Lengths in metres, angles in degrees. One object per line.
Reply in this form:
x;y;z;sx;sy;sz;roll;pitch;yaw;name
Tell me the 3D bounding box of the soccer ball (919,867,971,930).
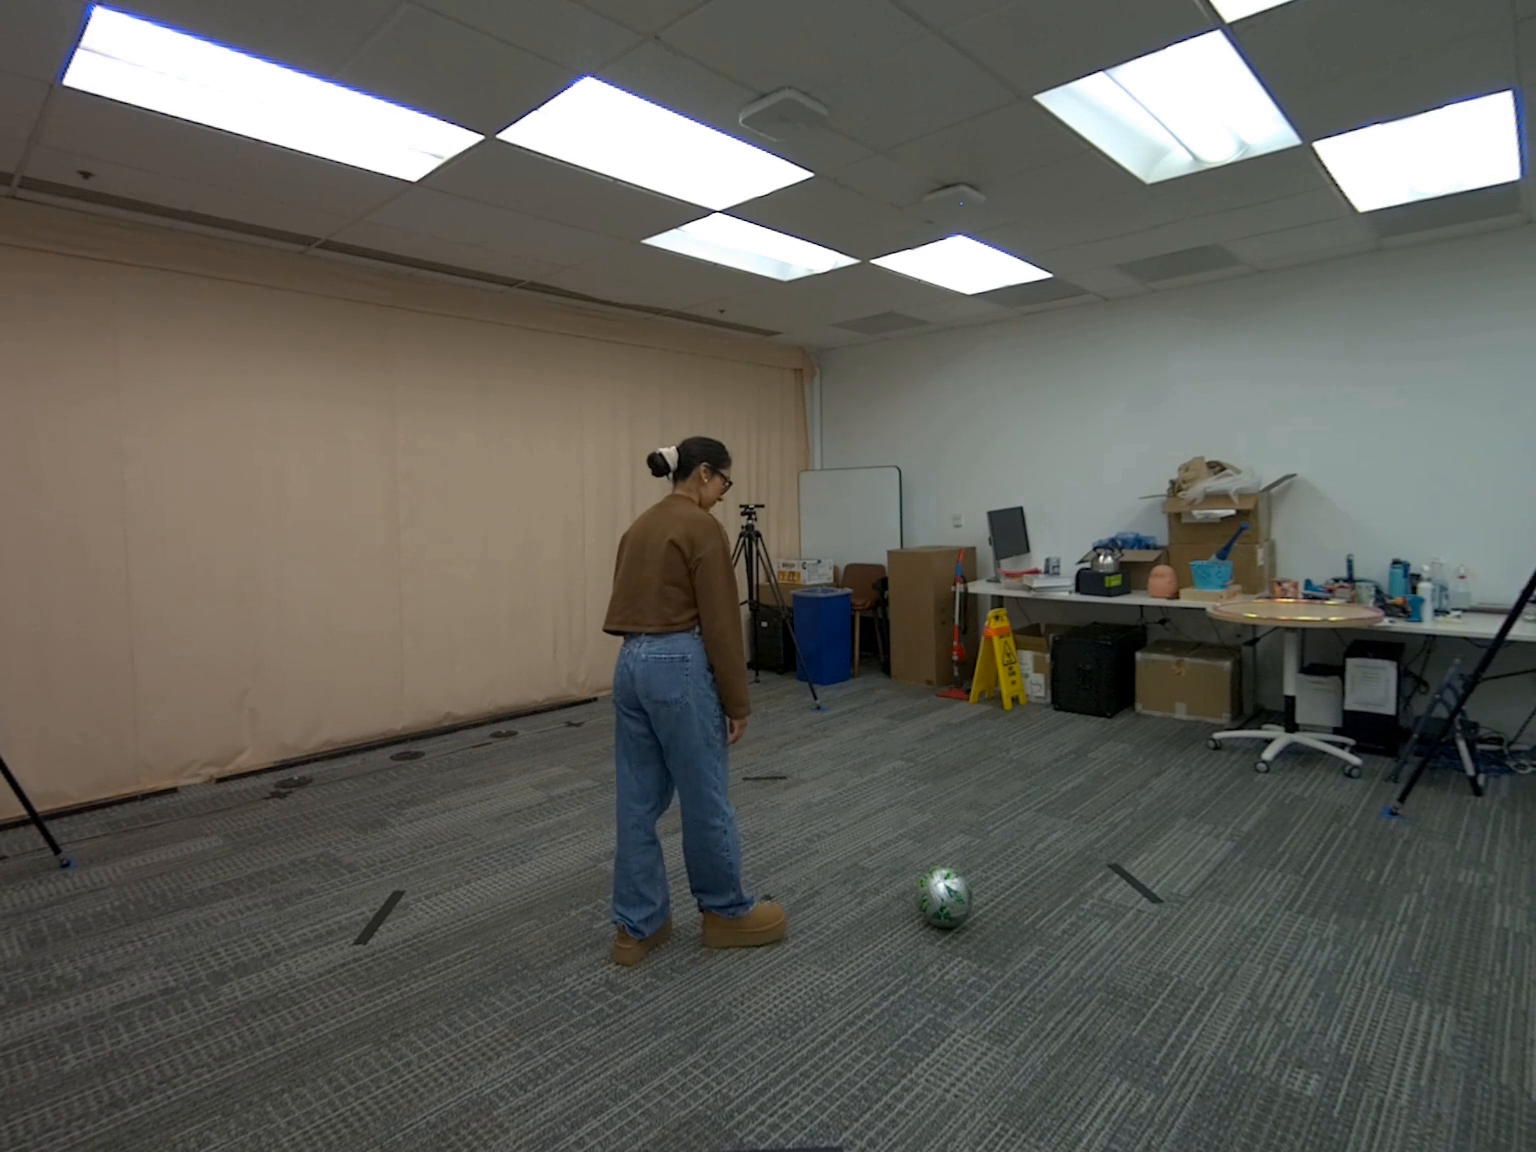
0.586;1.054;2.765;0.187;0.187;0.188;-1;4;-2;soccer ball
